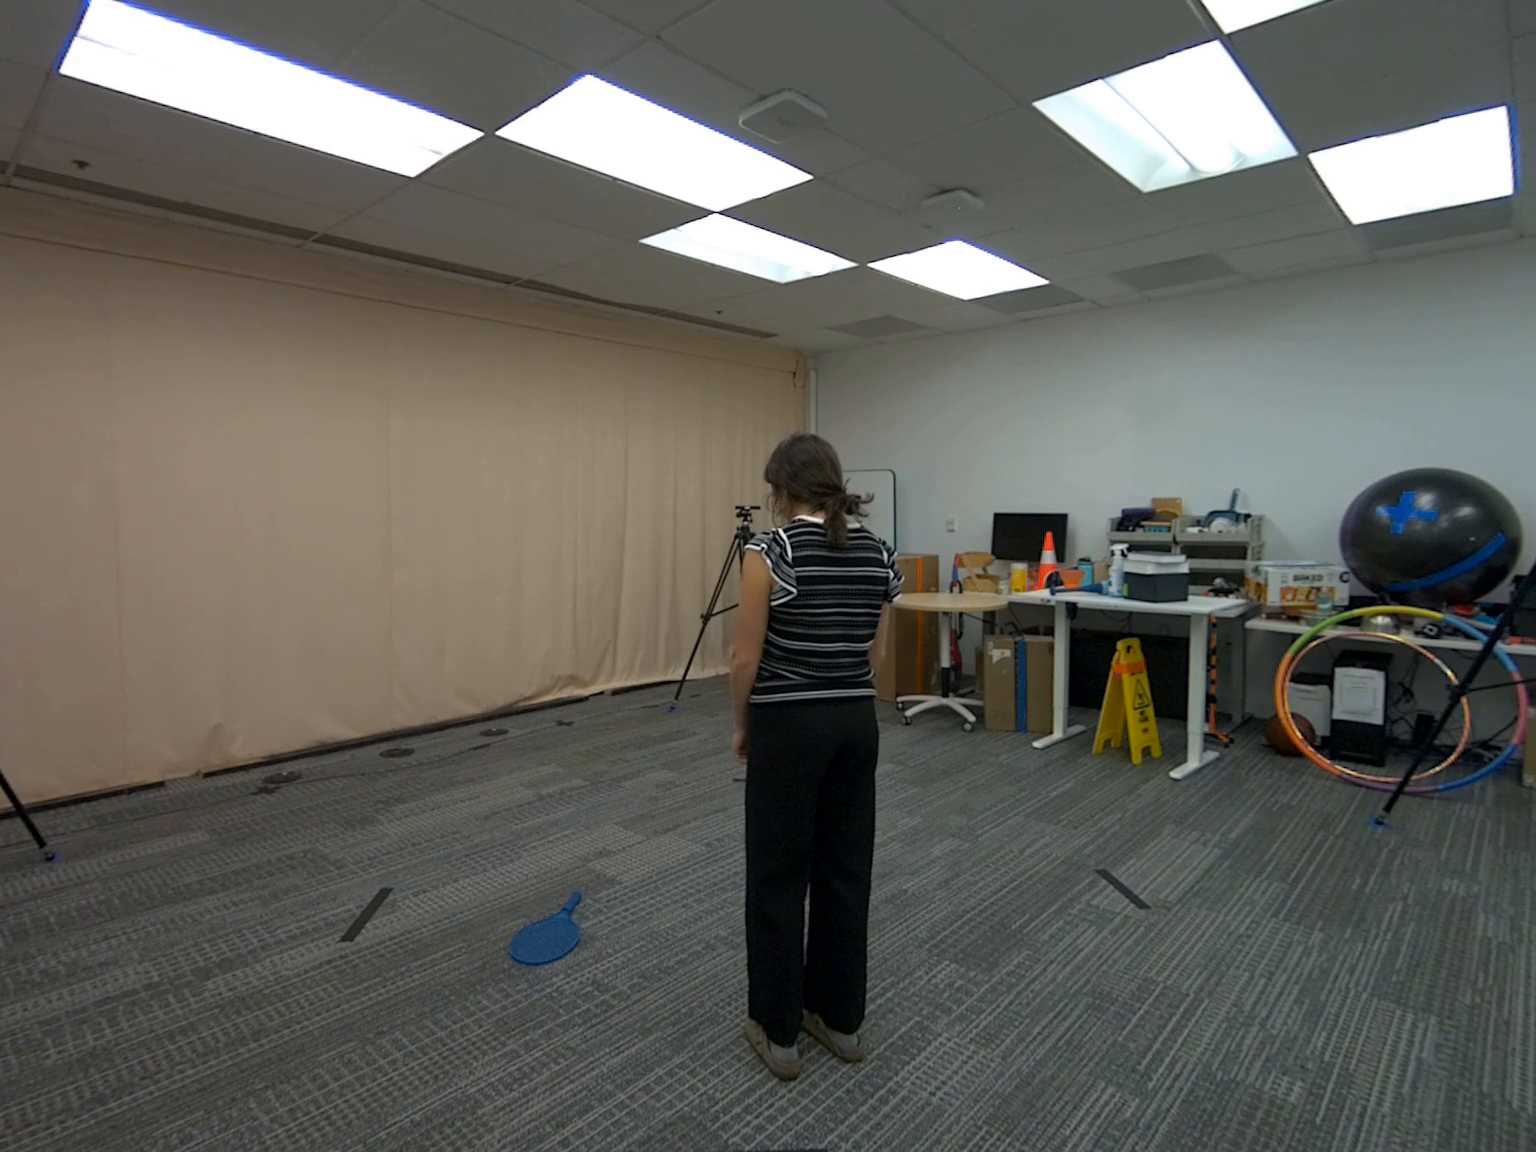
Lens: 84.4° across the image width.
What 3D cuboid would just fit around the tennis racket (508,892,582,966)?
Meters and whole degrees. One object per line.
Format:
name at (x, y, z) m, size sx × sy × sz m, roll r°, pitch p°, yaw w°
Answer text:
tennis racket at (-0.700, 1.155, 2.774) m, size 0.215 × 0.031 × 0.431 m, roll 0°, pitch 6°, yaw 5°
